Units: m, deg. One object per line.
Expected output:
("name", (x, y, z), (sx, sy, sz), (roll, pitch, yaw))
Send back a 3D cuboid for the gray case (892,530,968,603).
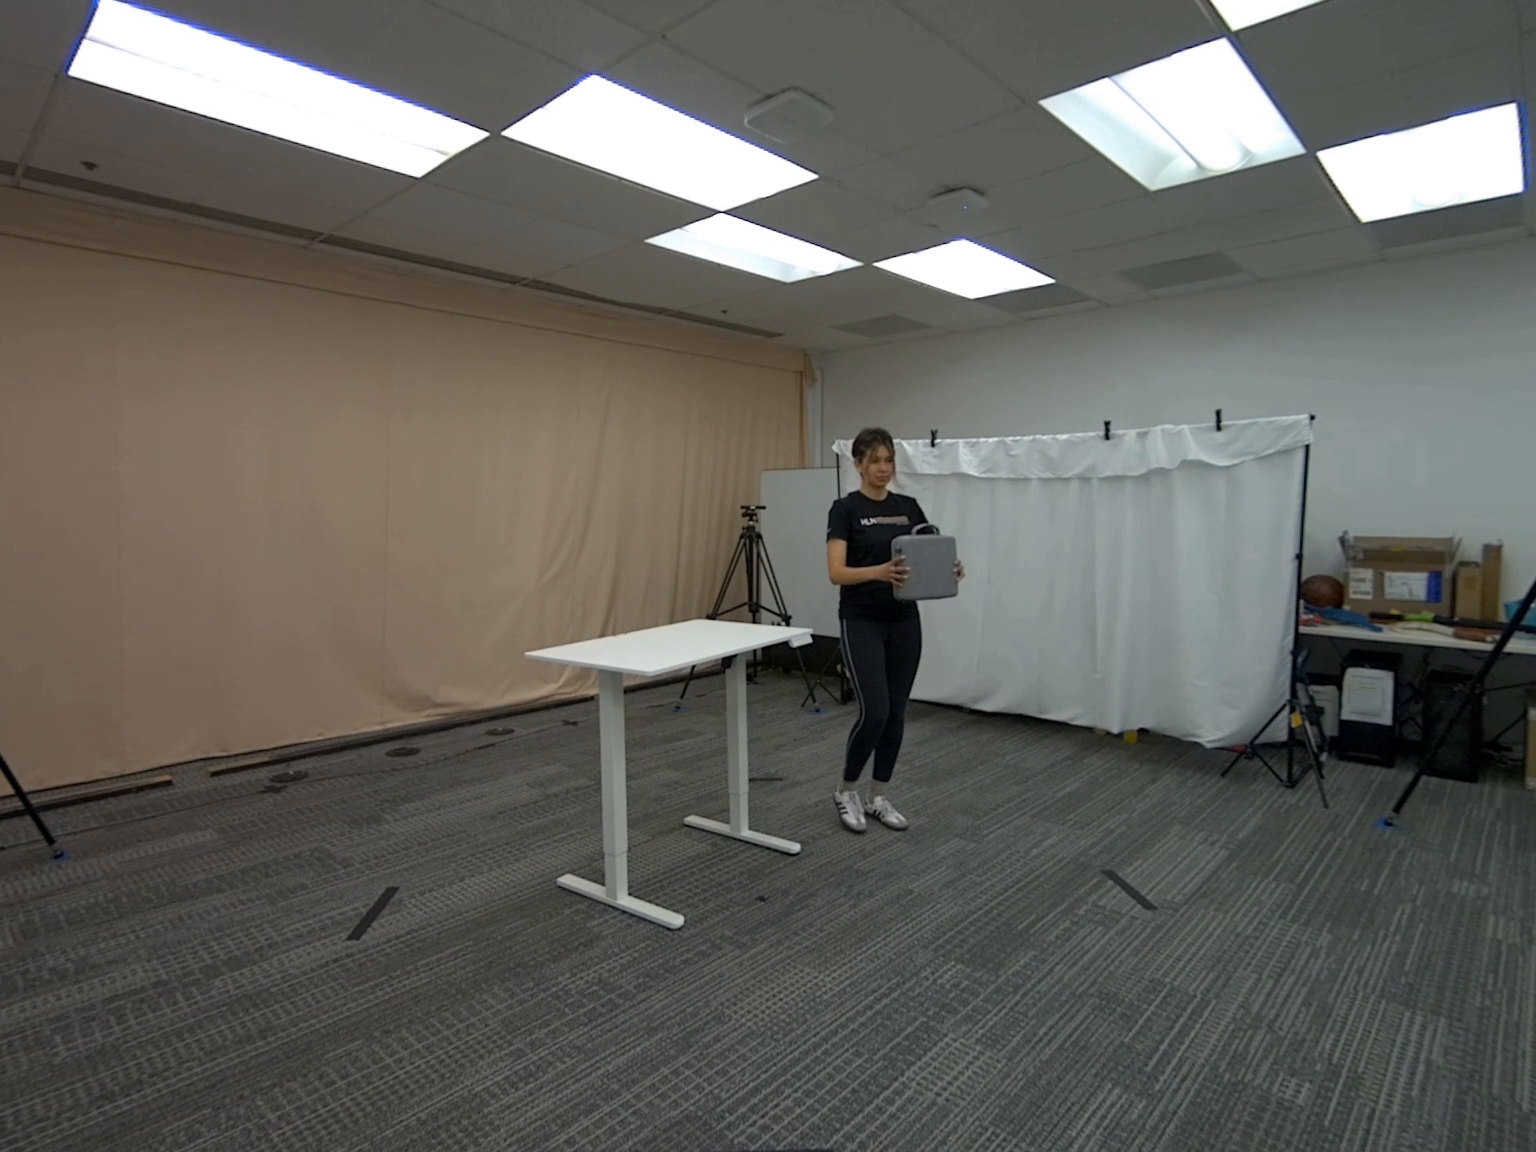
("gray case", (0.630, -0.038, 3.313), (0.251, 0.260, 0.106), (-5, 1, -22))
